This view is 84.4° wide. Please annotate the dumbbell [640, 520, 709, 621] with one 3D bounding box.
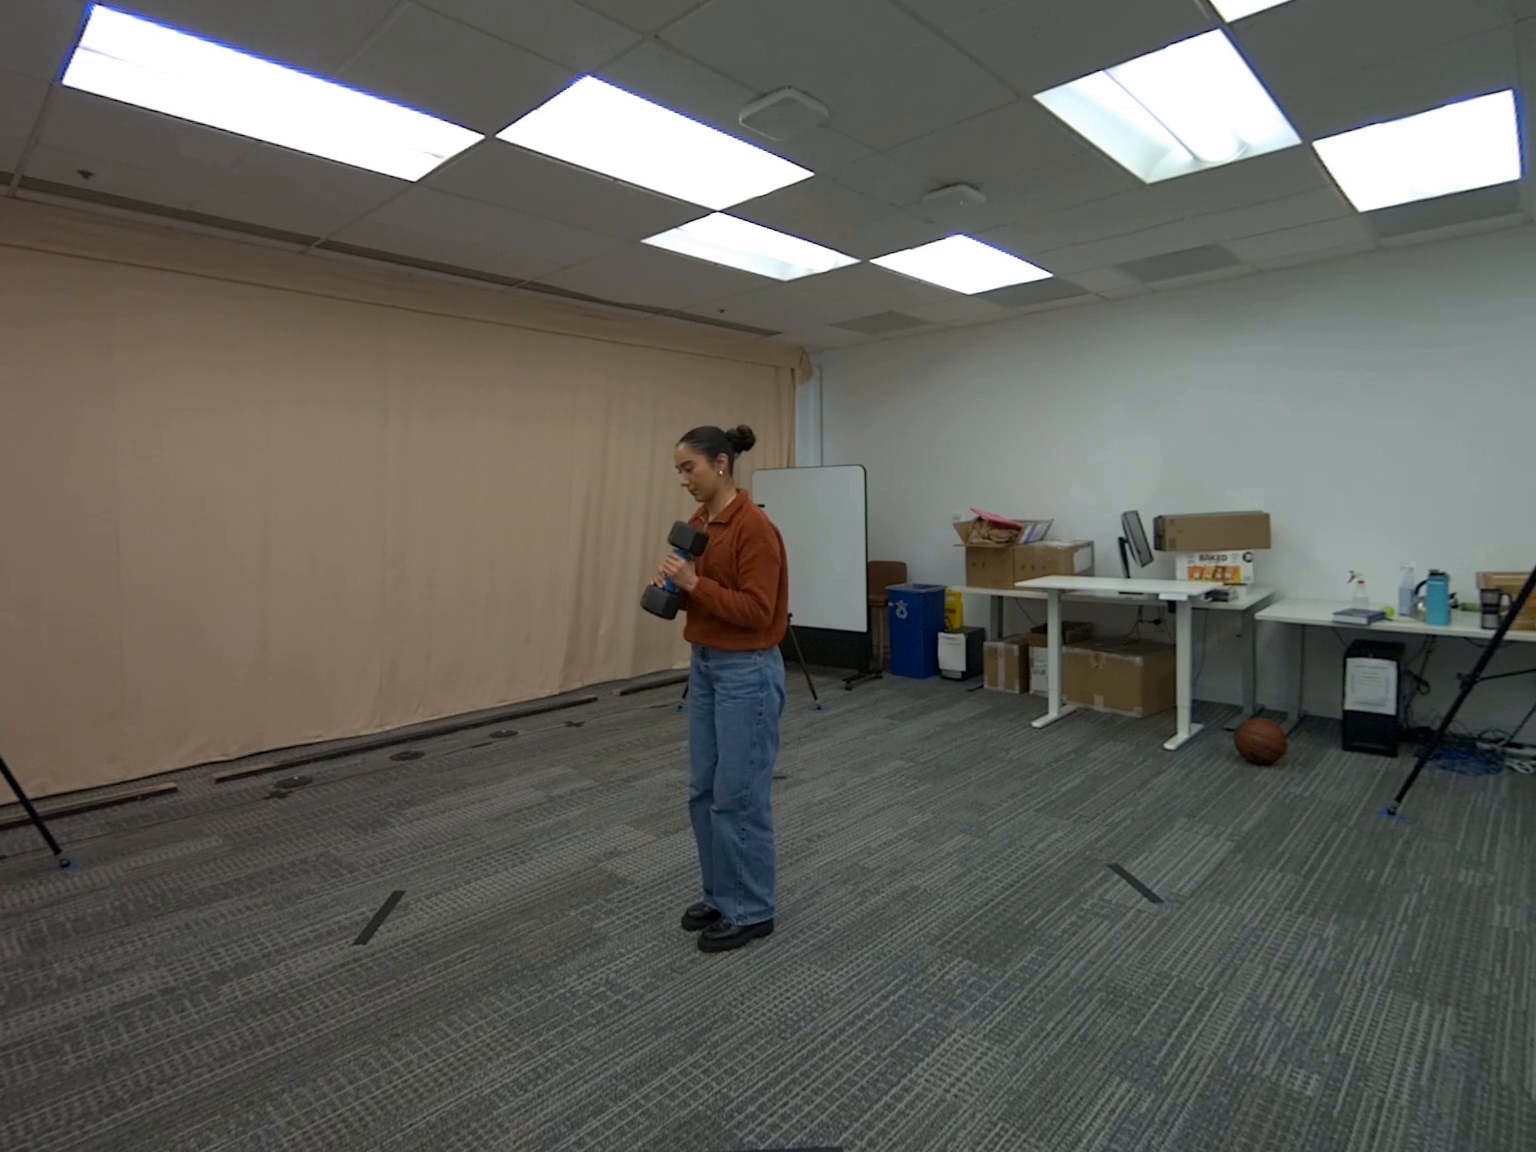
[{"bbox_3d":[-0.279,-0.010,2.583,0.125,0.293,0.107,24,-1,14],"label":"dumbbell"}]
